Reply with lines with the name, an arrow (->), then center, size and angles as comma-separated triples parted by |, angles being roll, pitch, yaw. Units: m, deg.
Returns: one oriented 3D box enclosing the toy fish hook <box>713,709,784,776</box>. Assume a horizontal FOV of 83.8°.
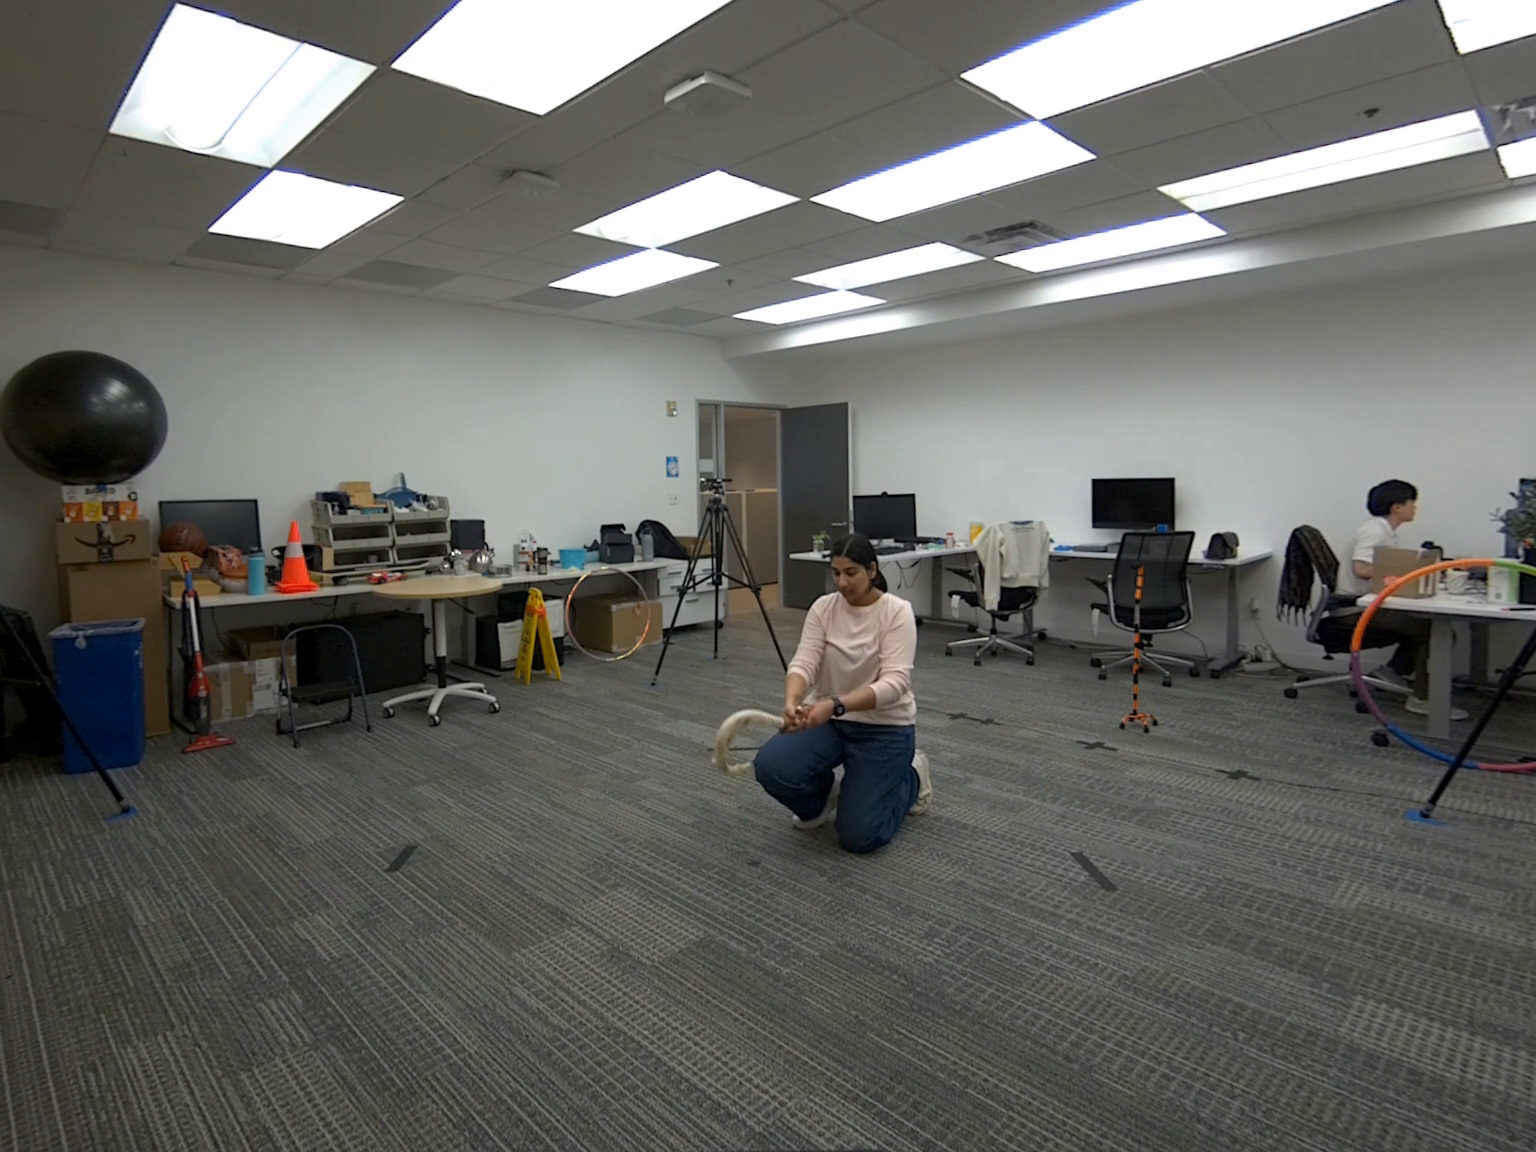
toy fish hook -> -0.002, 0.520, 2.821 | 0.050, 0.223, 0.491 | 25, 15, 40
